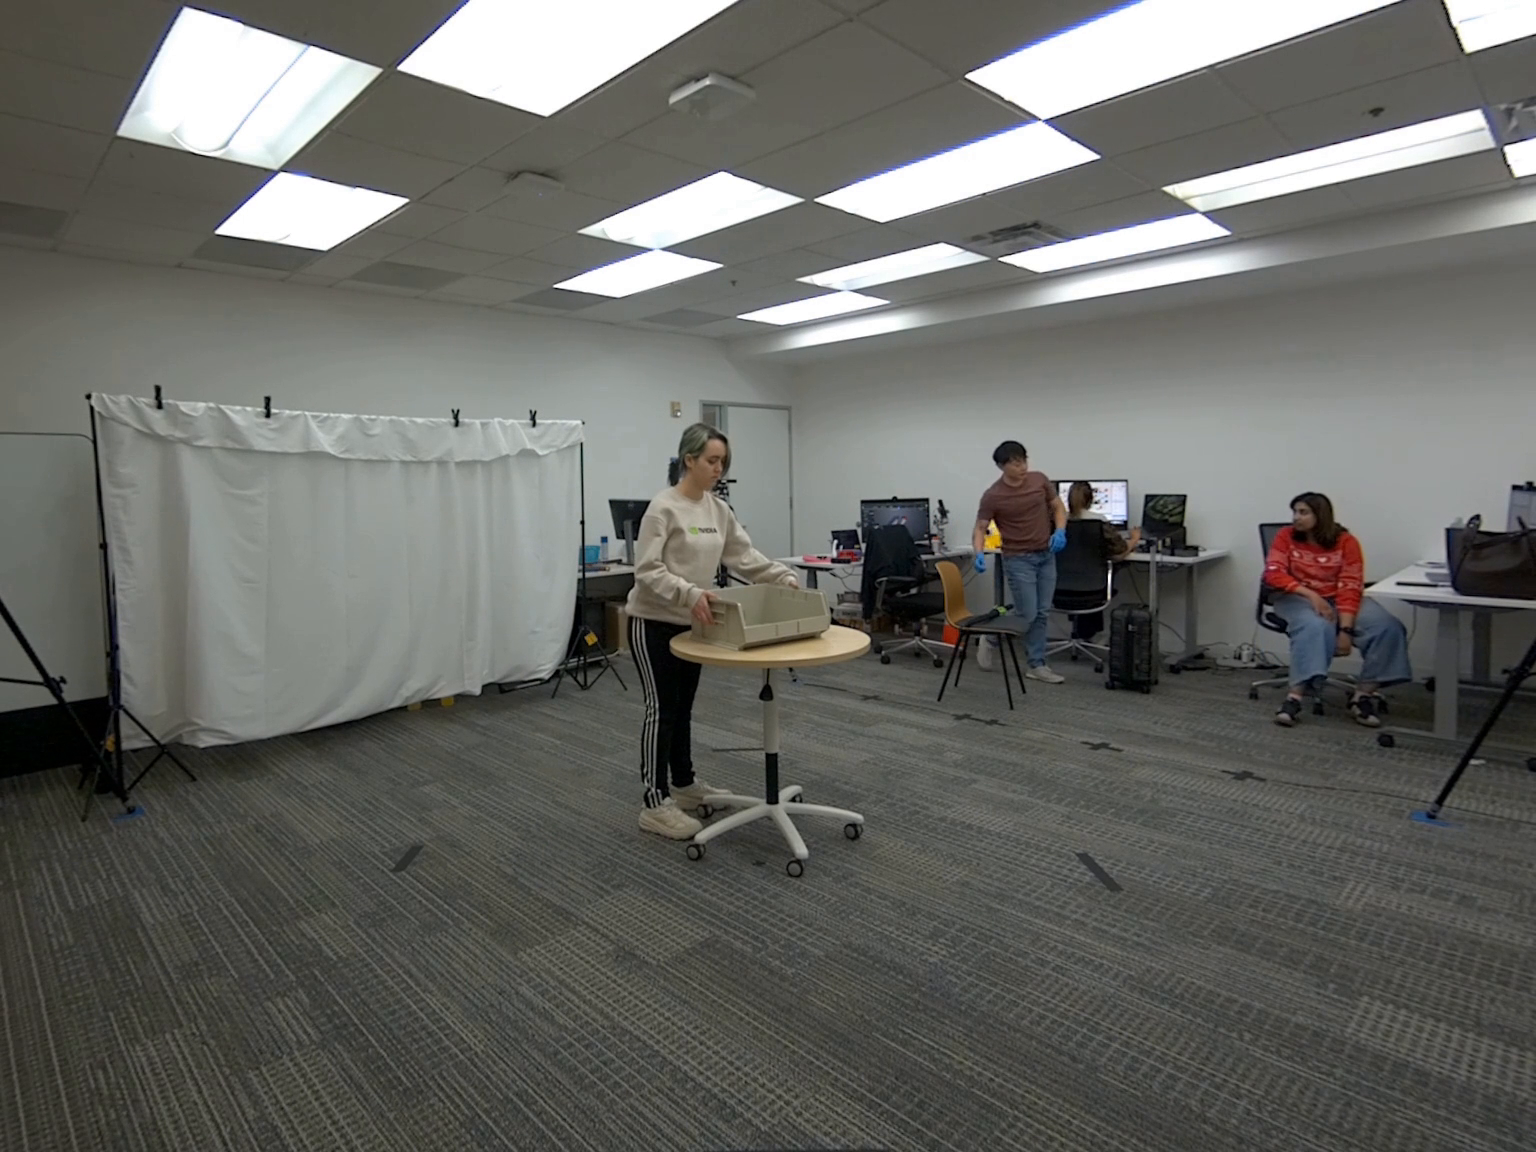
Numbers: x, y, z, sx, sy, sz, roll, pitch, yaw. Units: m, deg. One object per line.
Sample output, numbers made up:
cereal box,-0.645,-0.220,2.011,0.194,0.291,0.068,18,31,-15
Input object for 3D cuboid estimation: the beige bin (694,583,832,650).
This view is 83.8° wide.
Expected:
beige bin,-0.045,0.152,3.290,0.412,0.188,0.388,-7,8,-34
